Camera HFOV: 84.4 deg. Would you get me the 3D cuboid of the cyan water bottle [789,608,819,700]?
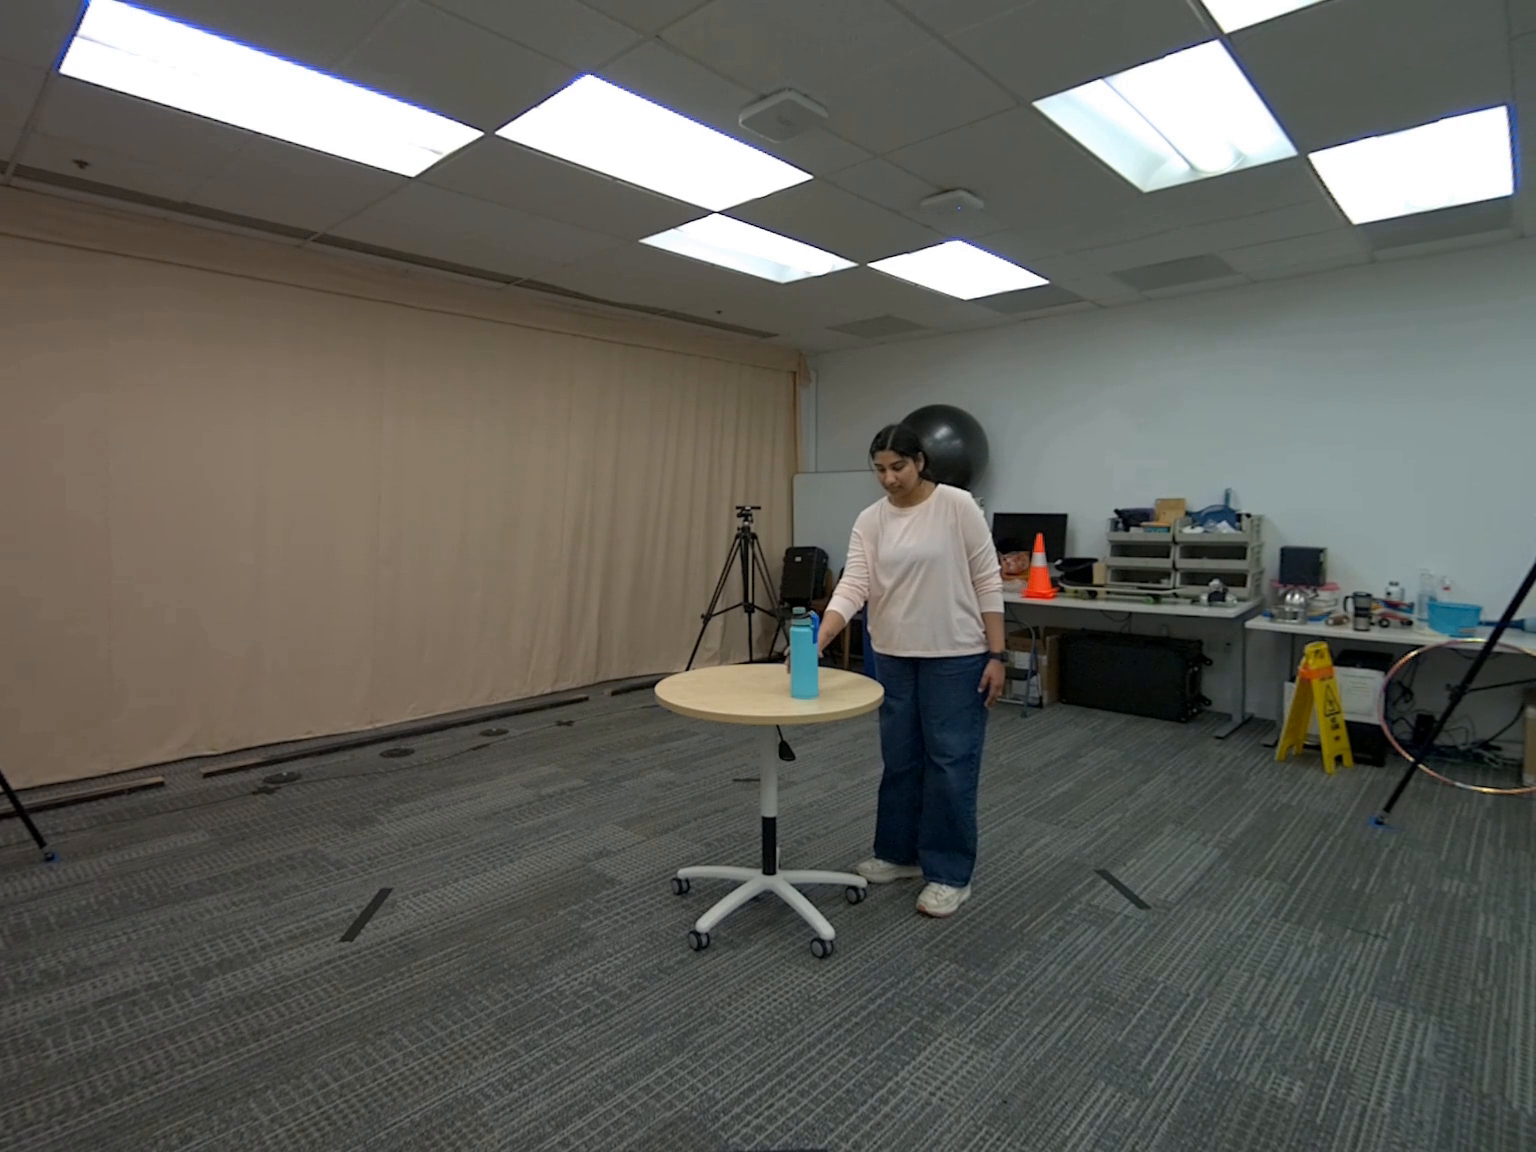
[{"bbox_3d":[0.122,0.247,2.683,0.092,0.283,0.093,0,4,-2],"label":"cyan water bottle"}]
